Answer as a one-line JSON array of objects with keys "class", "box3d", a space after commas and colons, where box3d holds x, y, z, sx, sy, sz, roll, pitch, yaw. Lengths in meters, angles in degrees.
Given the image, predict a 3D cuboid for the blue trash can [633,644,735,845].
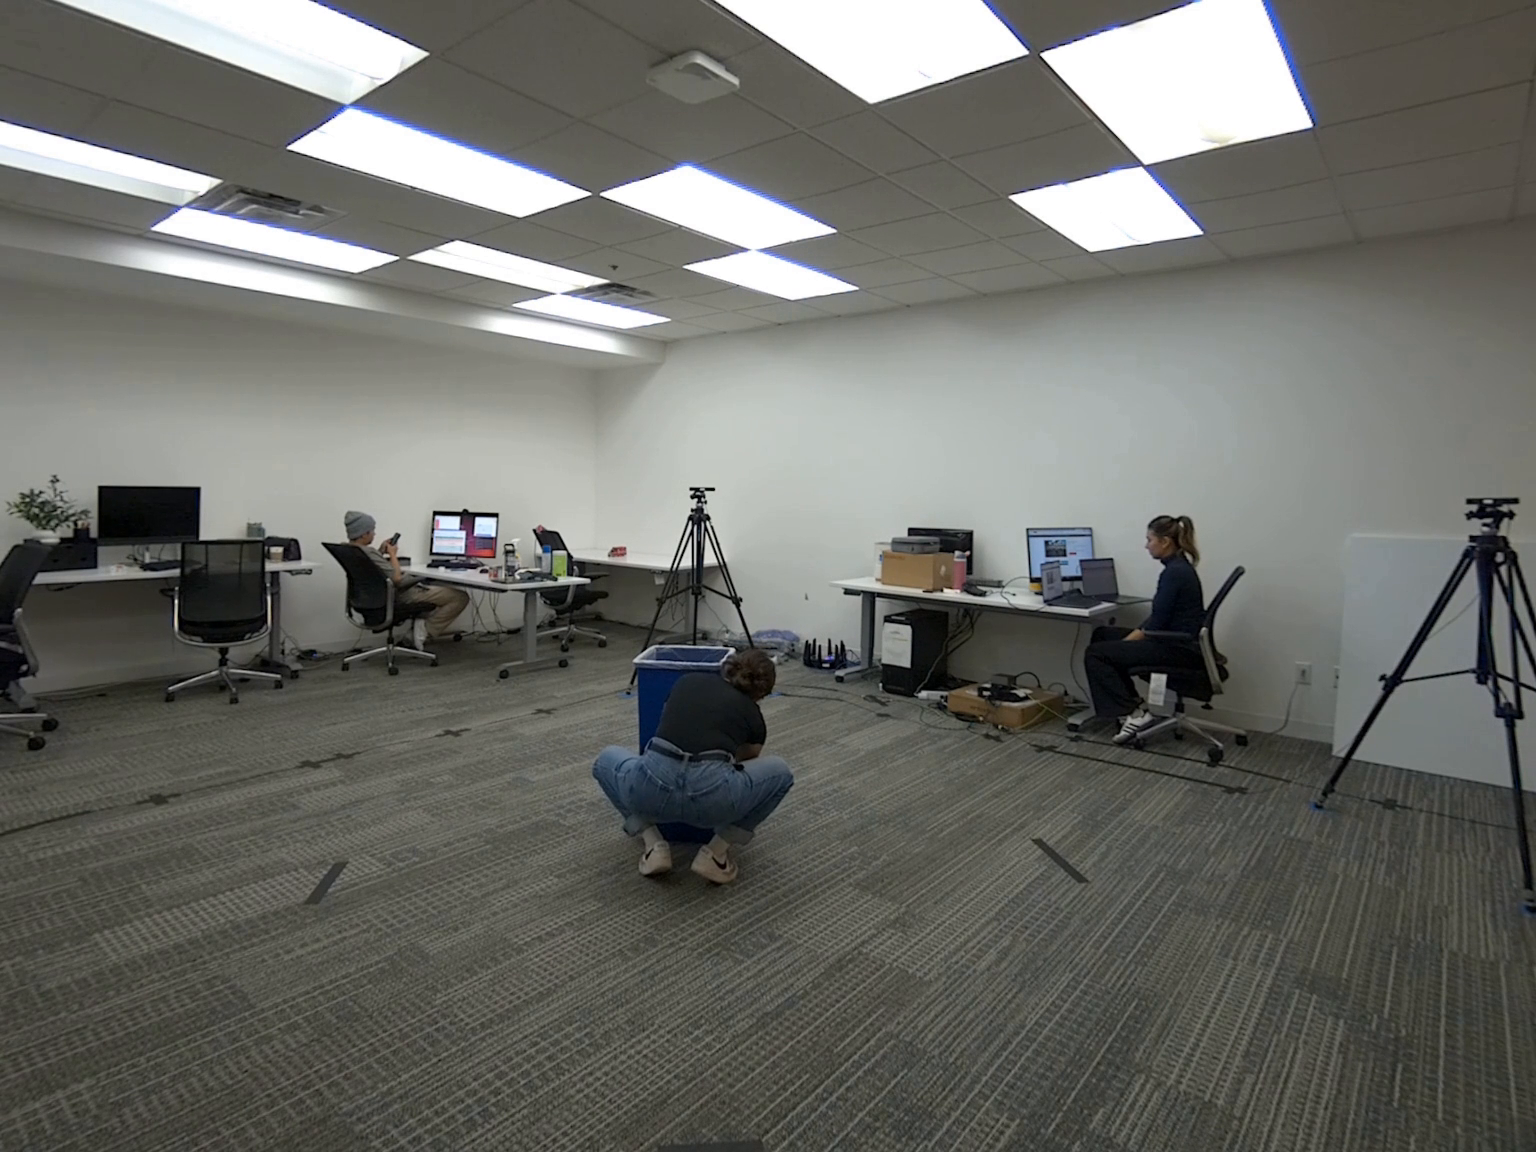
[{"class": "blue trash can", "box3d": [-0.353, 0.665, 3.476, 0.378, 0.711, 0.375, 2, 3, 8]}]
